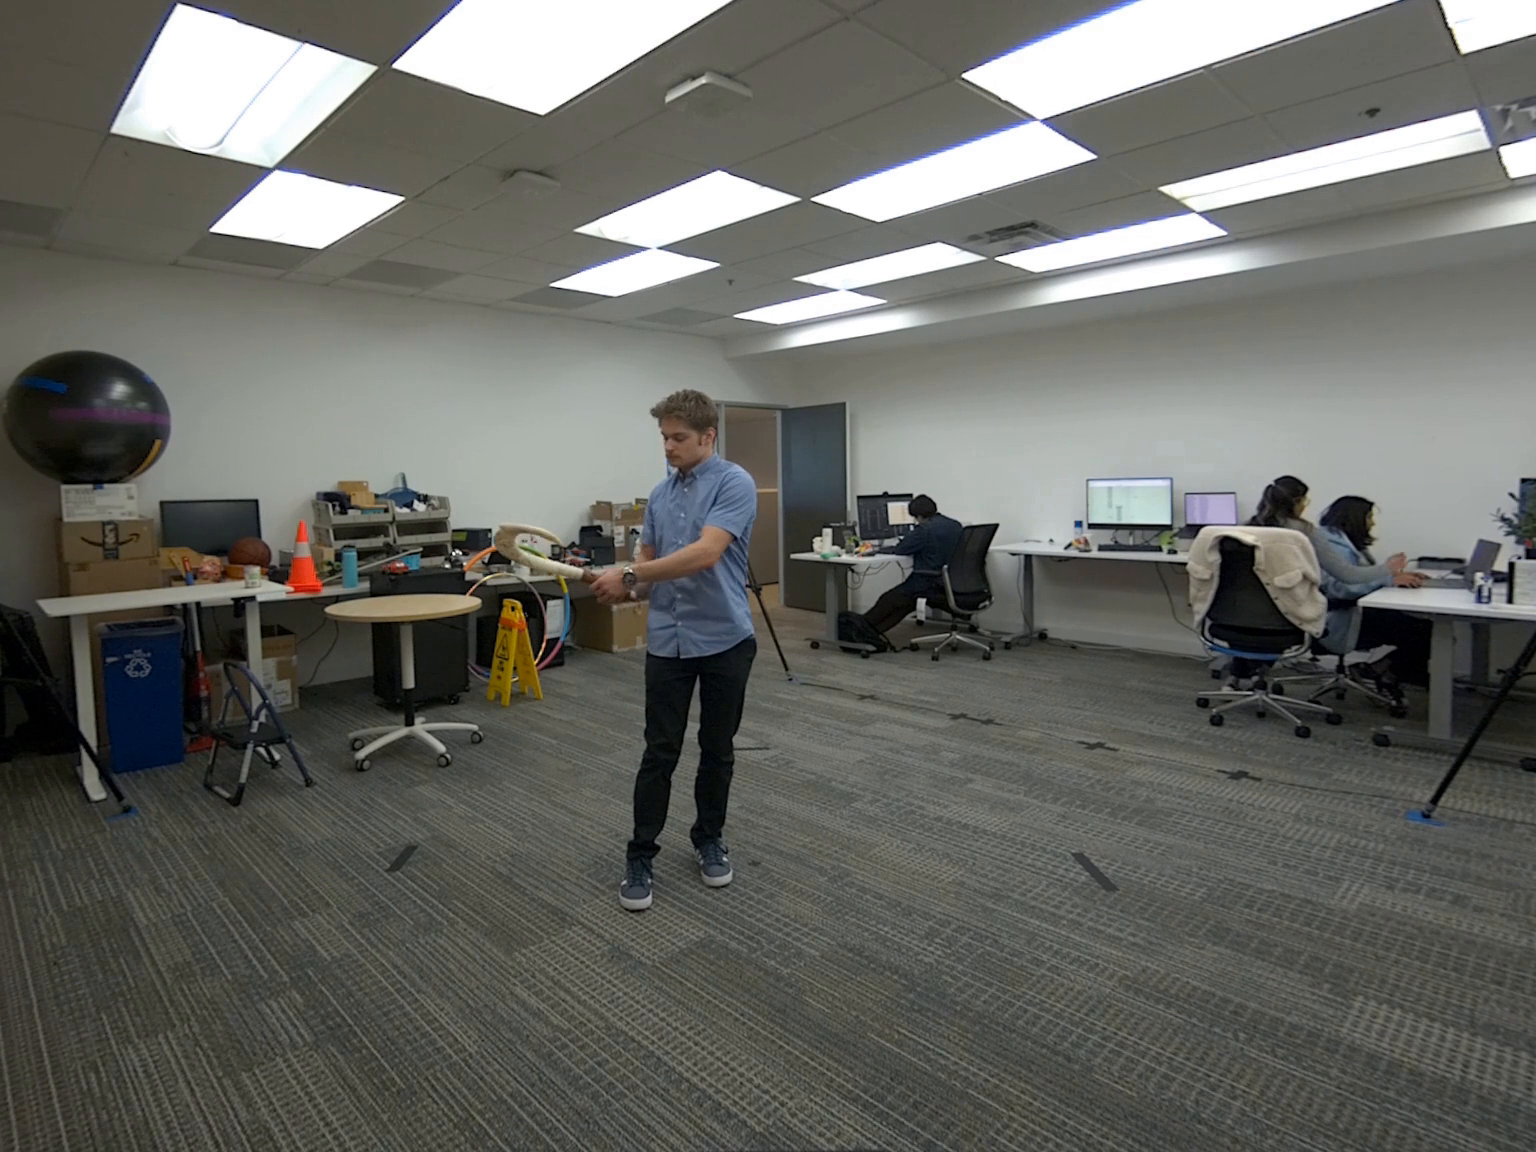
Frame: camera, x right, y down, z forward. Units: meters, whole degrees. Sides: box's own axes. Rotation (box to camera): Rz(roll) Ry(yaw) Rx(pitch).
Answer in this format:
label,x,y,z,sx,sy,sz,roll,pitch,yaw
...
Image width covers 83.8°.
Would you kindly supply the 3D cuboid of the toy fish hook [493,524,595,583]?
label,x,y,z,sx,sy,sz,roll,pitch,yaw
toy fish hook,-0.611,-0.040,2.732,0.495,0.049,0.225,23,-34,-19
